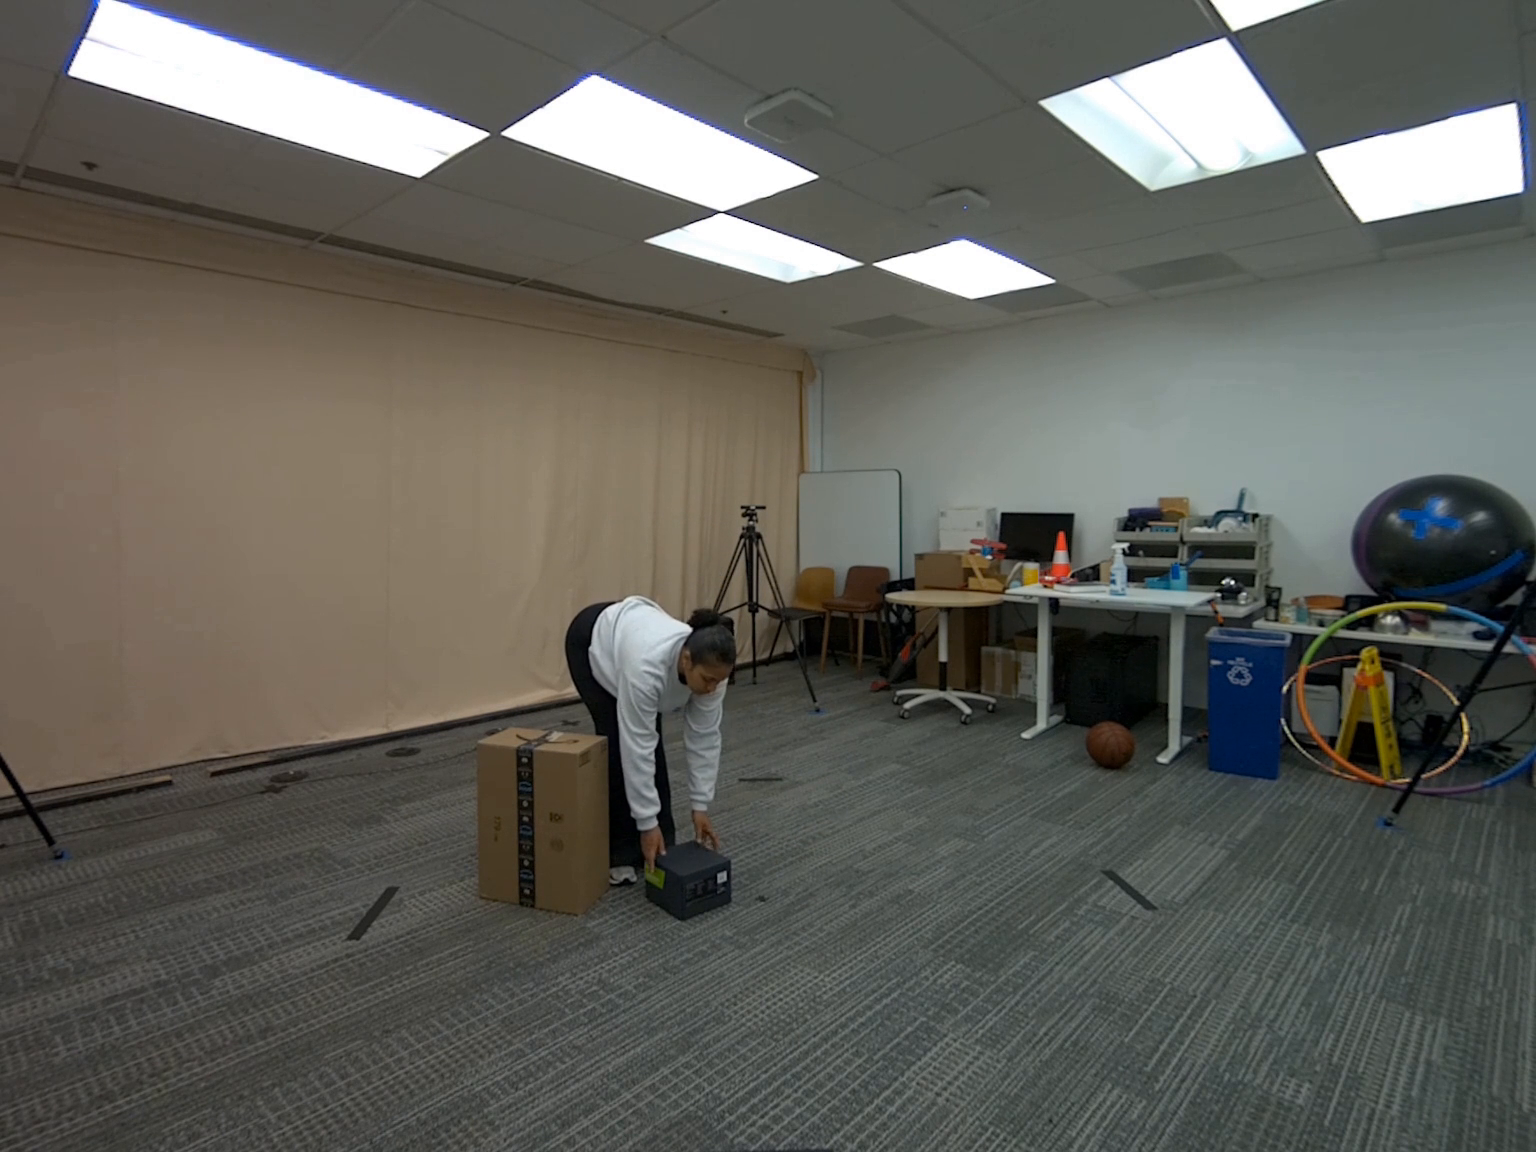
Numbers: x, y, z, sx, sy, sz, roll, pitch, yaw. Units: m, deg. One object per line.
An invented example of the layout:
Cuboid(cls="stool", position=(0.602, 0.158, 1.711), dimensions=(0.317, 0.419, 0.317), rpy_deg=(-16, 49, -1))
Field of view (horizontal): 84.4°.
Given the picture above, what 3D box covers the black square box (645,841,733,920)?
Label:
Cuboid(cls="black square box", position=(-0.280, 1.069, 2.959), dimensions=(0.210, 0.155, 0.235), rpy_deg=(-4, 5, -41))
